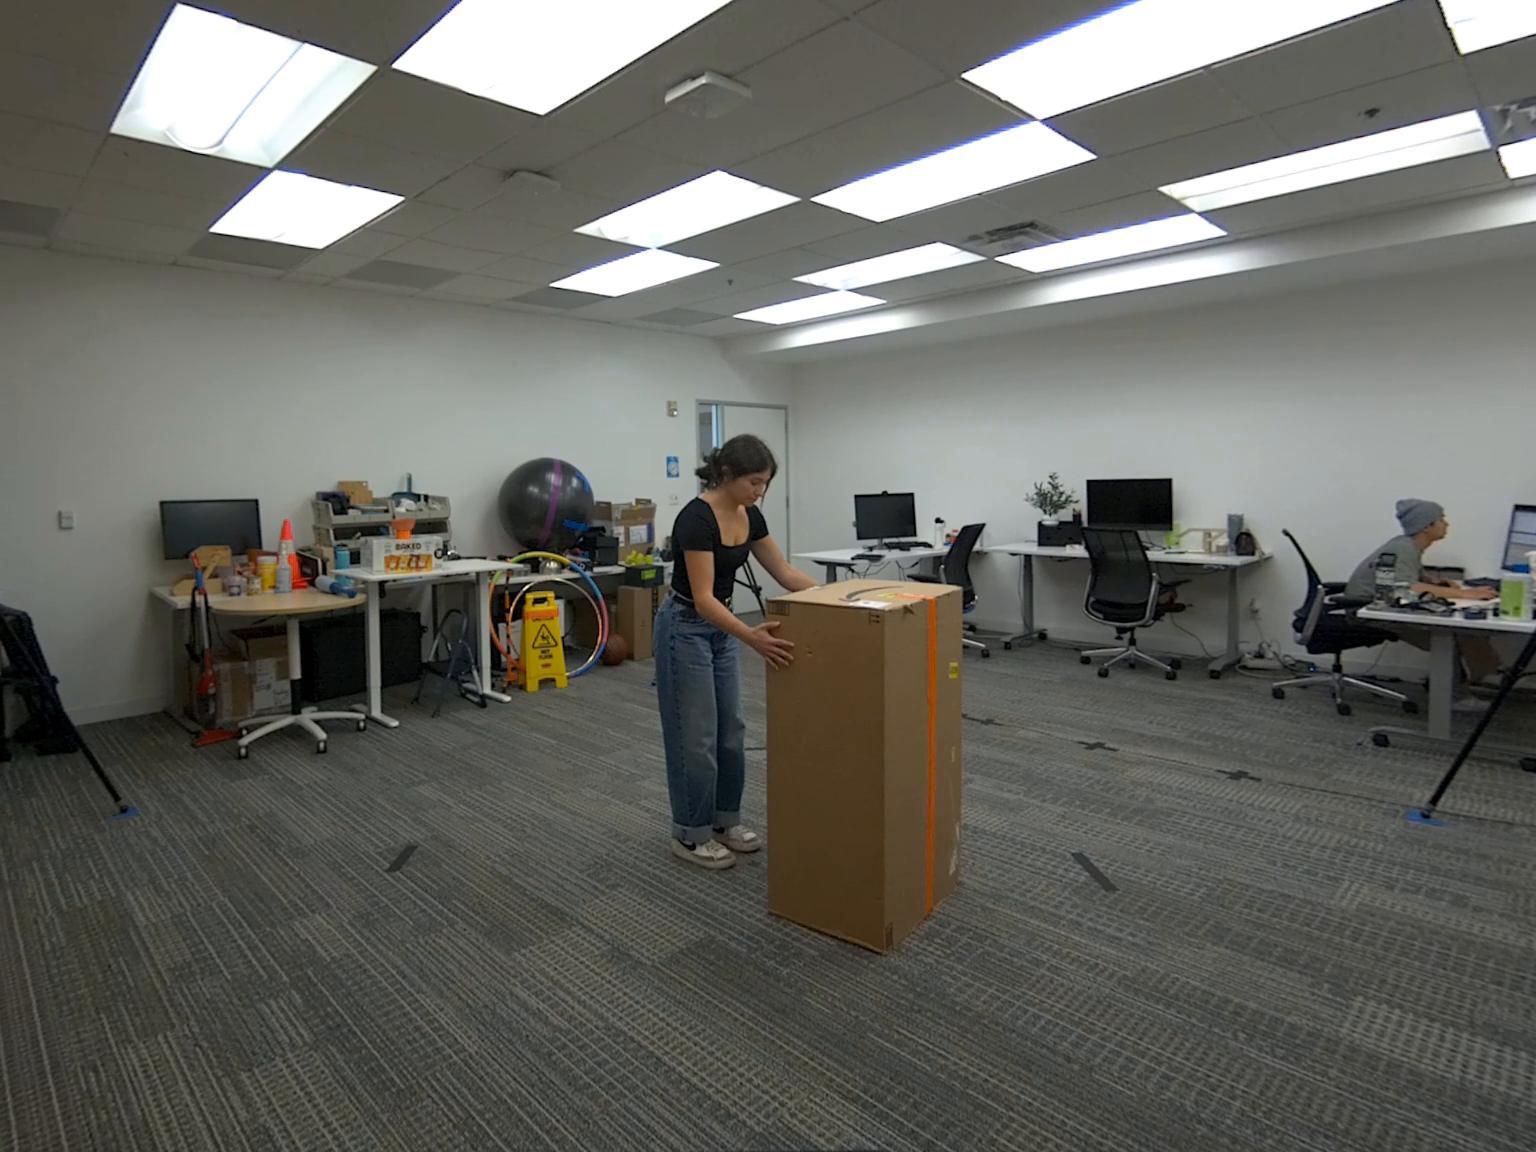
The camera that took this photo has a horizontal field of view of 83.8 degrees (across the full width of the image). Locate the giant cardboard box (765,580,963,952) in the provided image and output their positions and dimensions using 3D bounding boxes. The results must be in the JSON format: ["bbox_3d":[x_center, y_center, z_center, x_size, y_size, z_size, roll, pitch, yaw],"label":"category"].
[{"bbox_3d":[0.332,0.565,2.804,0.438,1.022,0.563,2,5,36],"label":"giant cardboard box"}]
